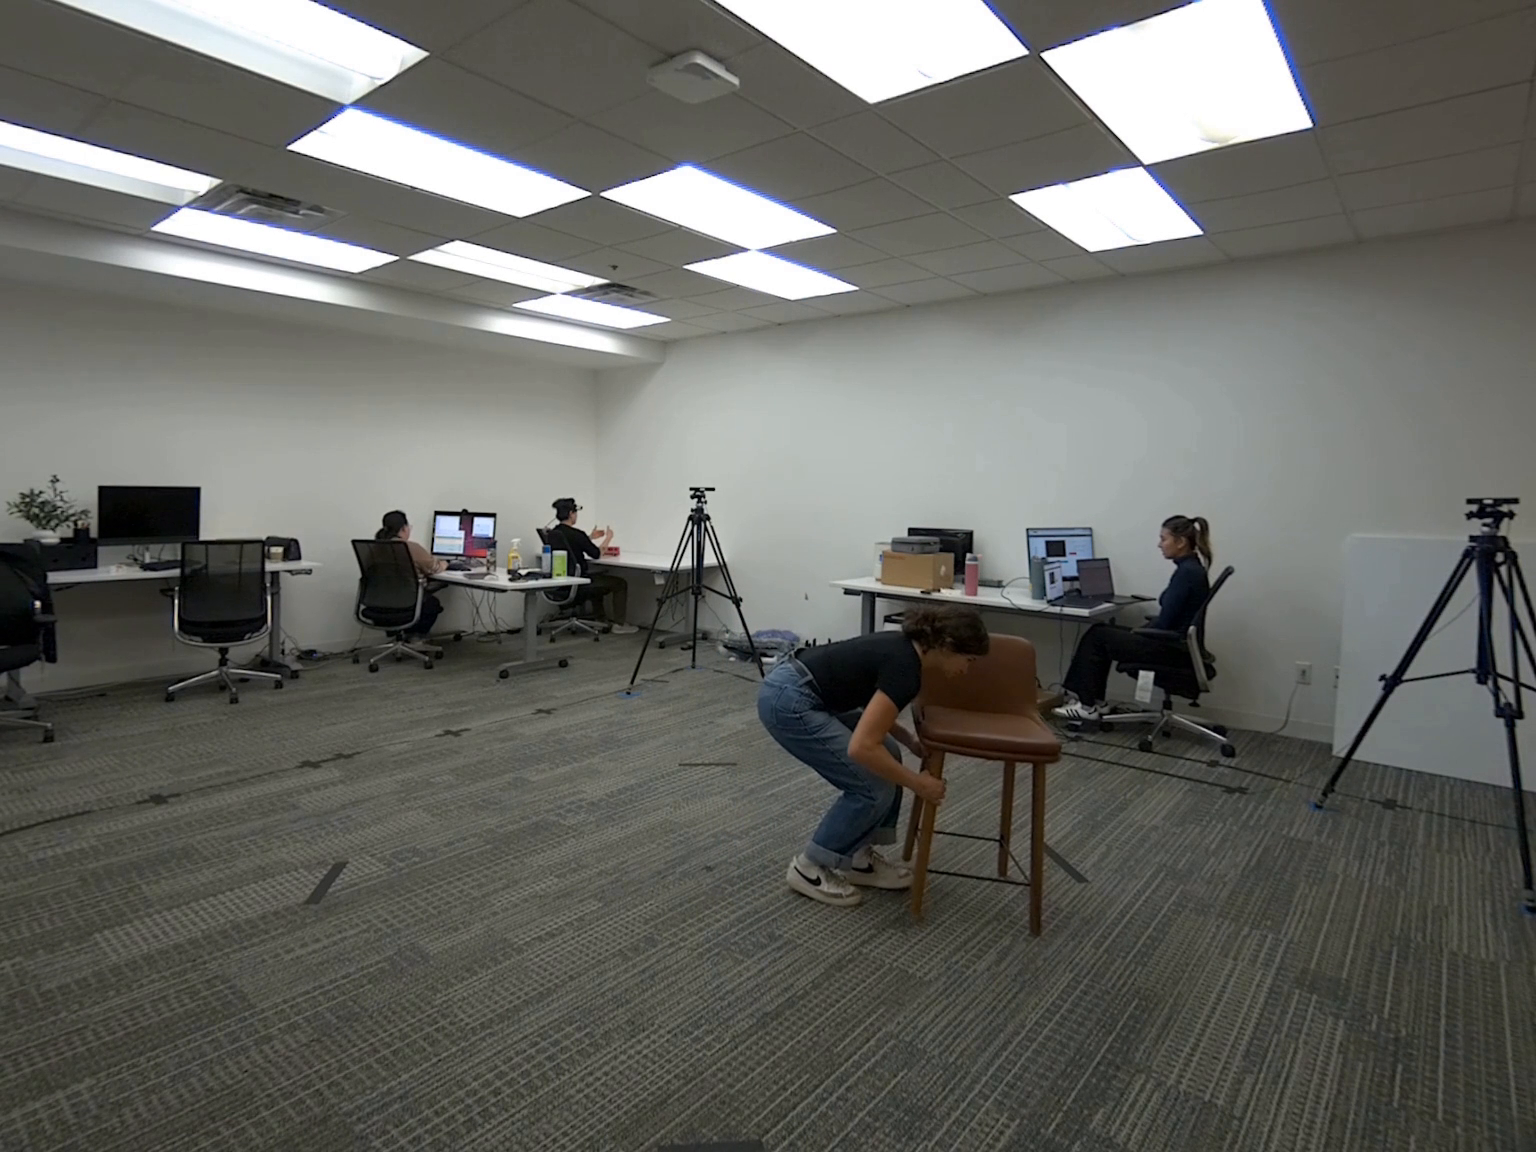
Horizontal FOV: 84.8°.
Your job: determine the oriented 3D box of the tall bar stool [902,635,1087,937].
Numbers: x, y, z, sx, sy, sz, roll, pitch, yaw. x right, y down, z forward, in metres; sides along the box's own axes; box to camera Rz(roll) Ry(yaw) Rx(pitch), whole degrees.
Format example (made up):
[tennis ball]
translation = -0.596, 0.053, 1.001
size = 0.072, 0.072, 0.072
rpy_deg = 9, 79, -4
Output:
[tall bar stool]
translation = 0.715, 0.665, 2.899
size = 0.460, 0.888, 0.465
rpy_deg = 6, 2, 5
